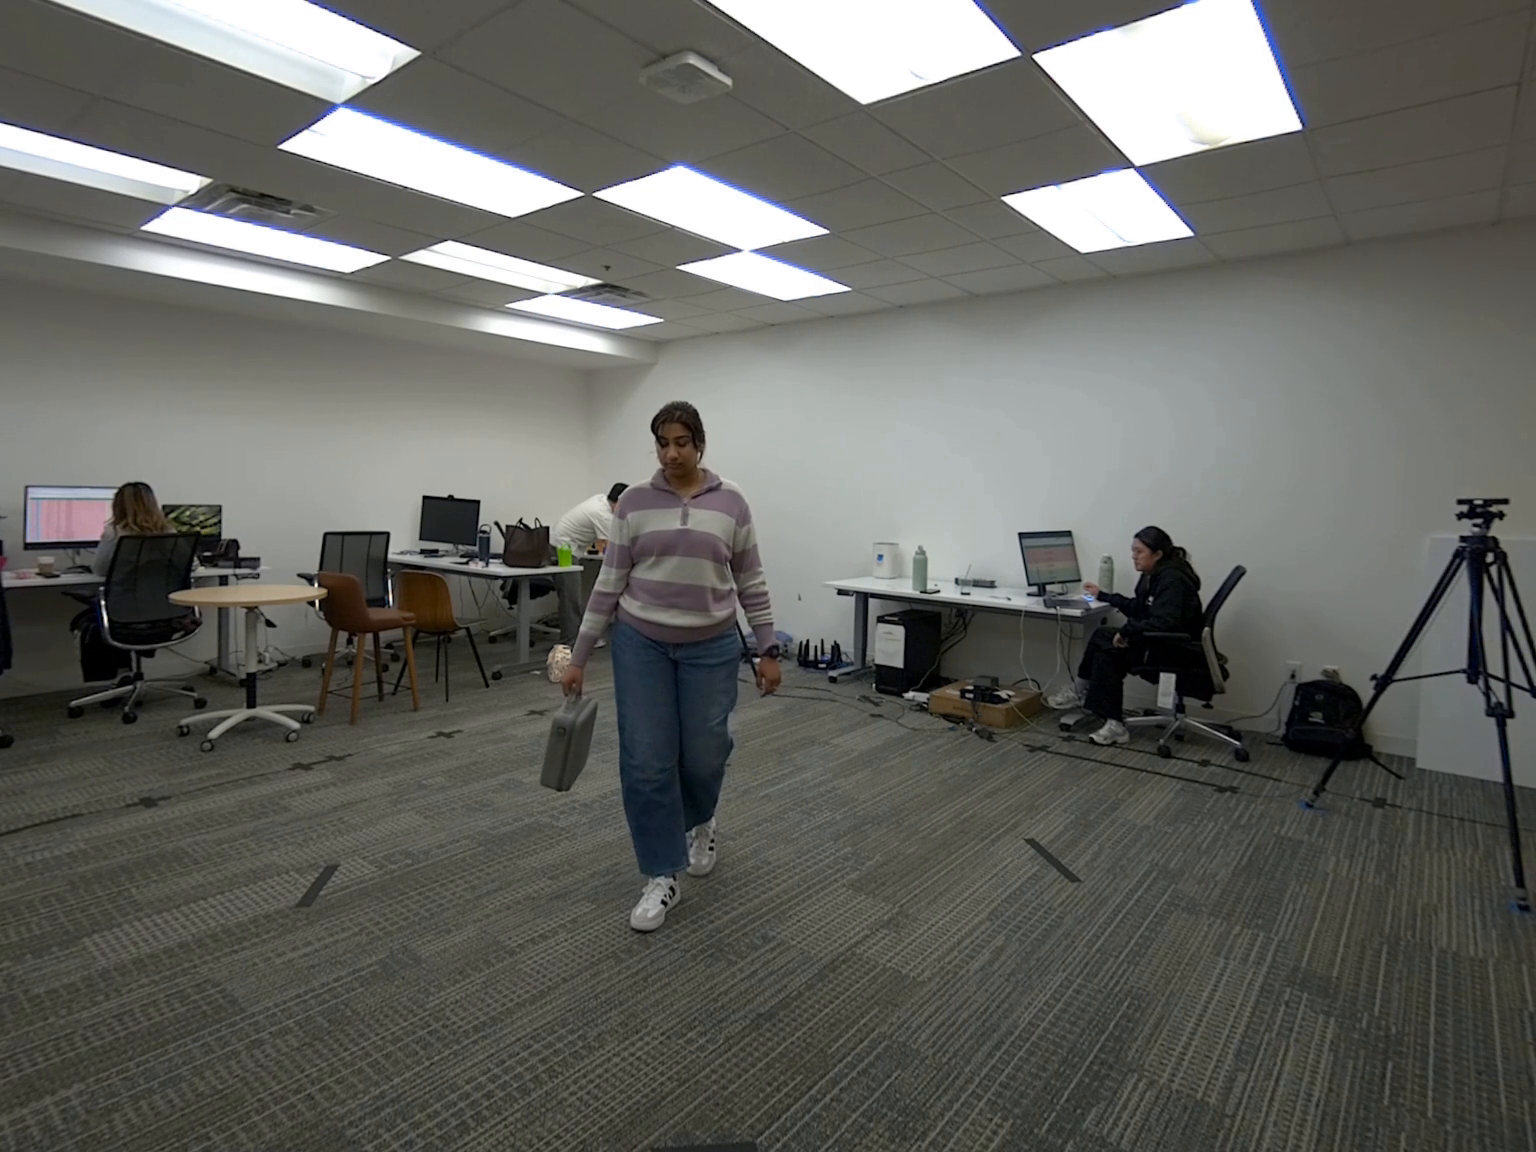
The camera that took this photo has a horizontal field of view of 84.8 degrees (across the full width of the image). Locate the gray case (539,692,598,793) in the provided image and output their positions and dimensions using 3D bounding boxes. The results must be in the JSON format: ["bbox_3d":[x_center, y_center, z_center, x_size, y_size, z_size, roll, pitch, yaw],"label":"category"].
[{"bbox_3d":[-0.658,0.540,2.795,0.104,0.259,0.258,10,8,0],"label":"gray case"}]
